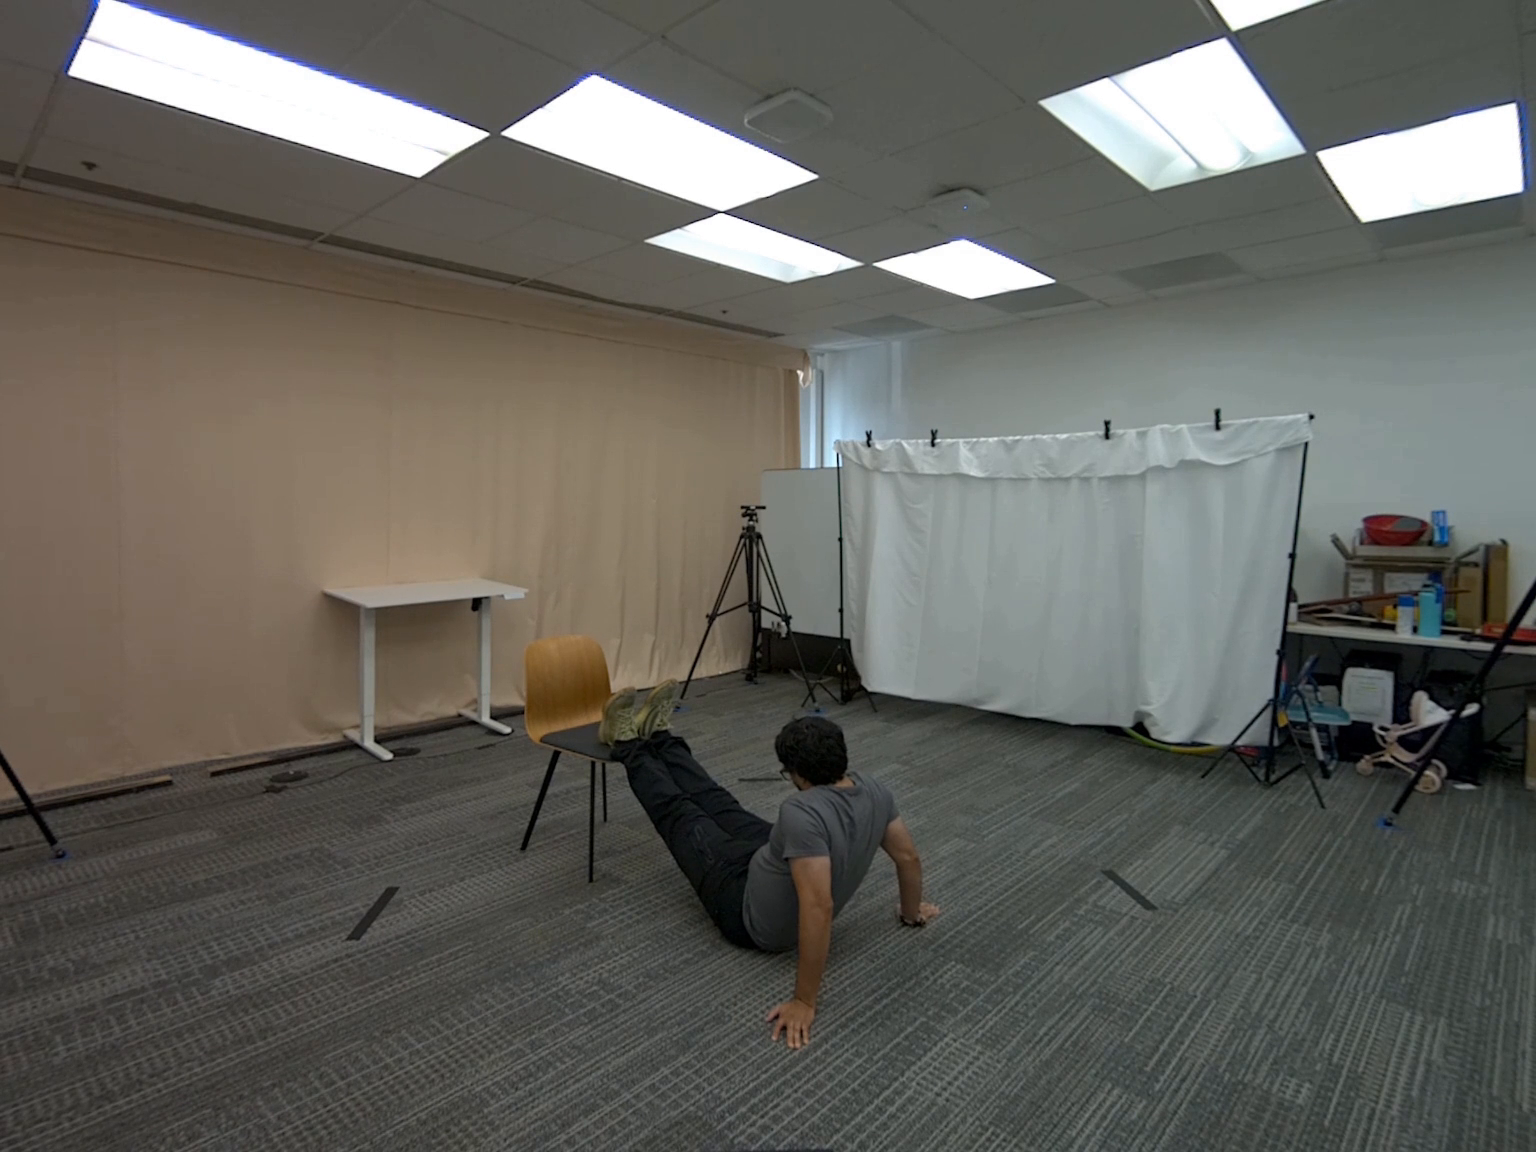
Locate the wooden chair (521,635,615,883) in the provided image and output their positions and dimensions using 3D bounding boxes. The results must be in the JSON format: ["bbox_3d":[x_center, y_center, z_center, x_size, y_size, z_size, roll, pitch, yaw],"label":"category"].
[{"bbox_3d":[-0.689,0.690,3.402,0.539,0.877,0.463,-3,1,42],"label":"wooden chair"}]
